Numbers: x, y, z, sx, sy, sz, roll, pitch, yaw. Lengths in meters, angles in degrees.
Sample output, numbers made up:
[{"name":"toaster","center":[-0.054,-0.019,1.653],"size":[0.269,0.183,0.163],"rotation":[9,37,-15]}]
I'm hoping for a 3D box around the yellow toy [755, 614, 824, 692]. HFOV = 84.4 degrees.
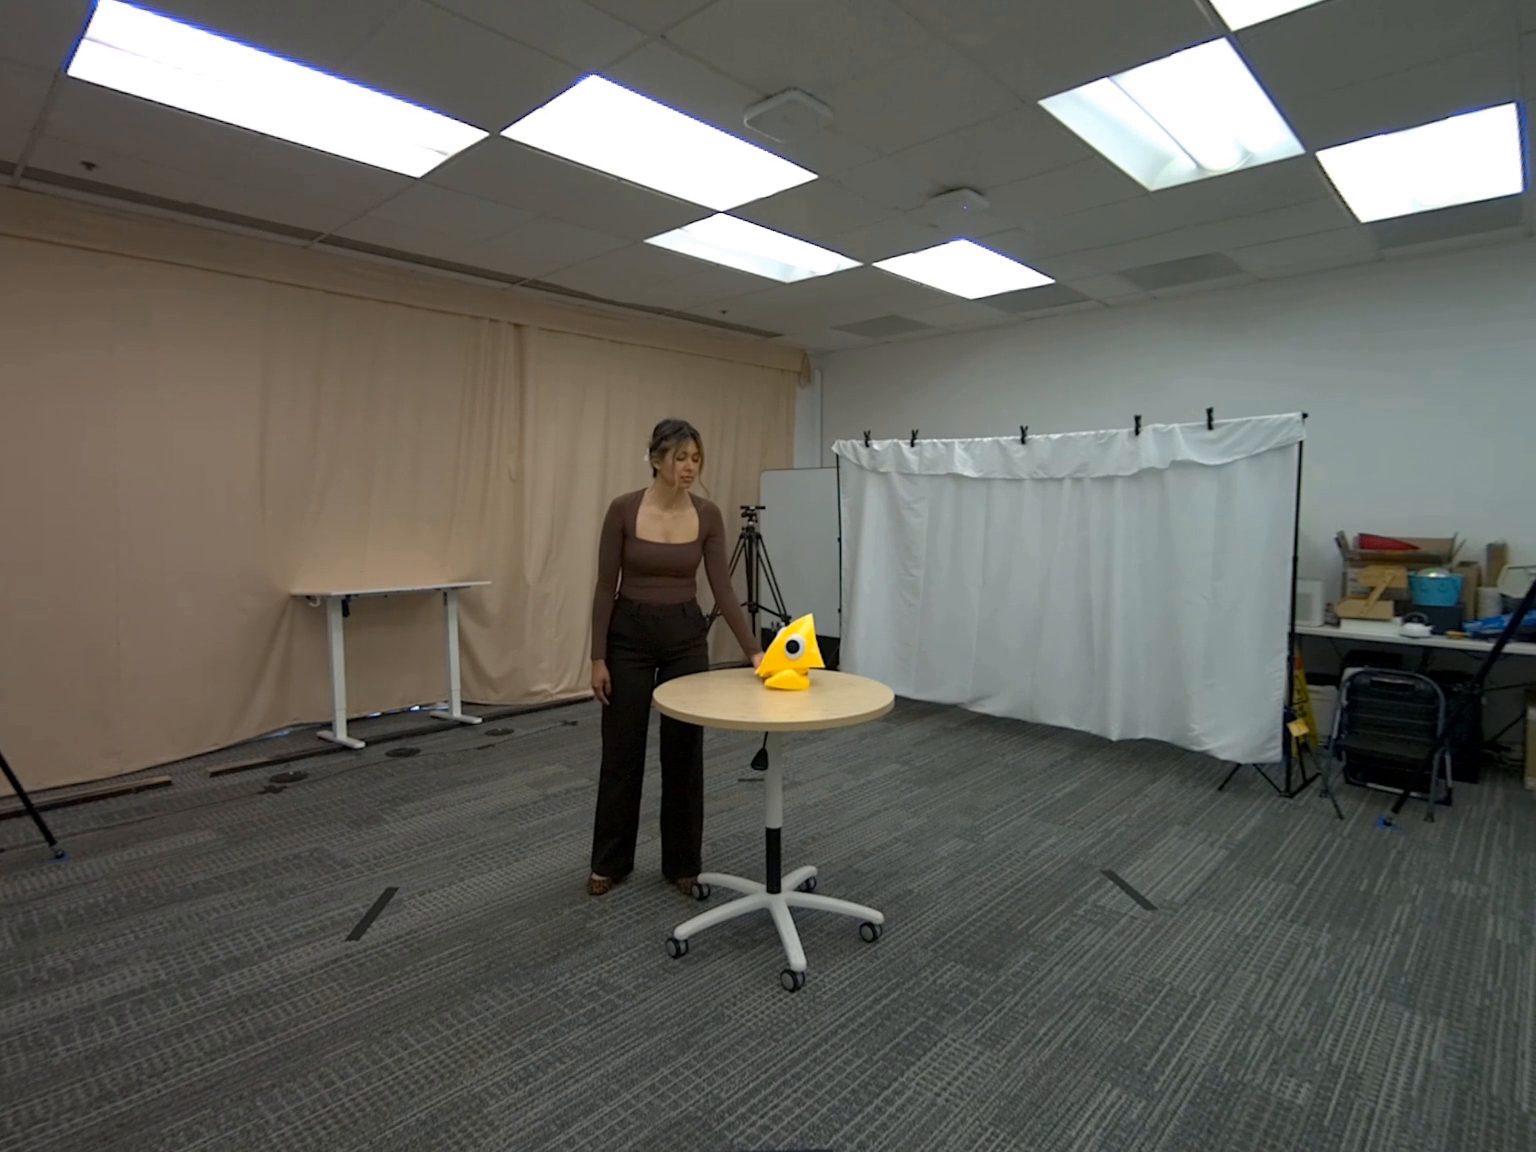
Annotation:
[{"name":"yellow toy","center":[0.076,0.237,2.783],"size":[0.190,0.230,0.209],"rotation":[5,8,-17]}]
